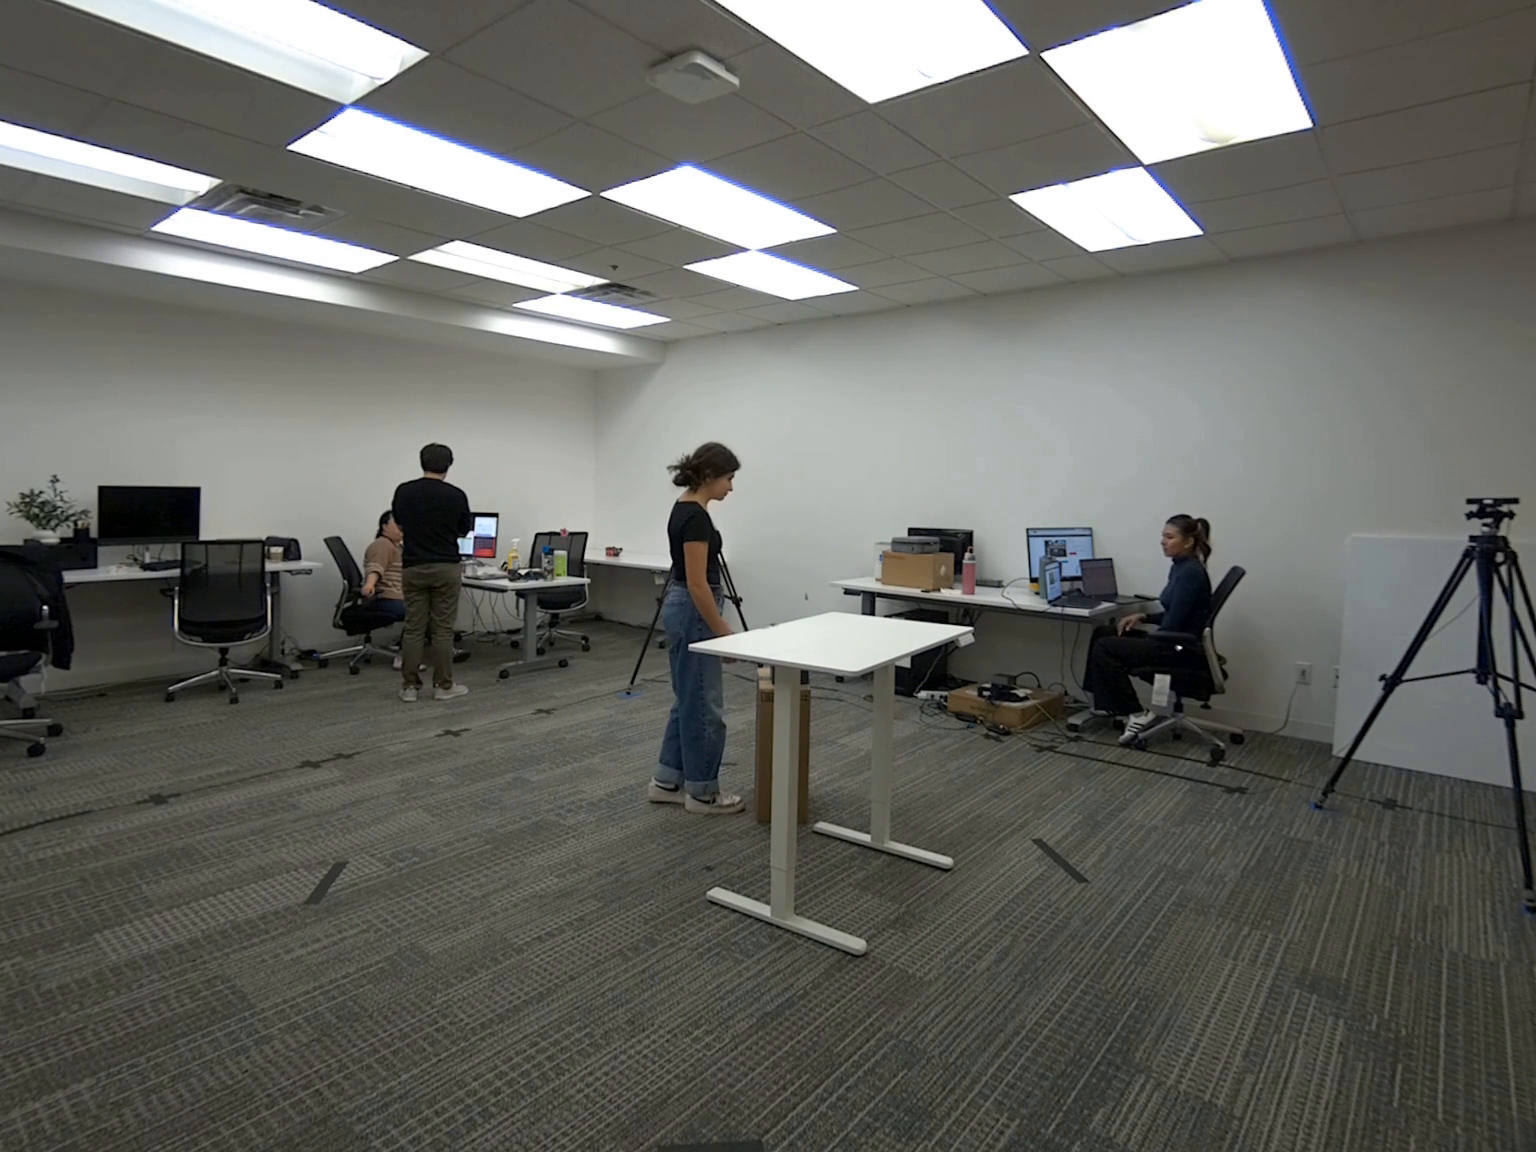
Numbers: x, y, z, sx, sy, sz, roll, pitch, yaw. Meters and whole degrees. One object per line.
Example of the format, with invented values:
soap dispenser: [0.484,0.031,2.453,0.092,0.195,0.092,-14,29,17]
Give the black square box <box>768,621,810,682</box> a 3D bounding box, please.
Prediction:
black square box: [0.088,0.326,3.705,0.156,0.227,0.217,1,2,-2]
